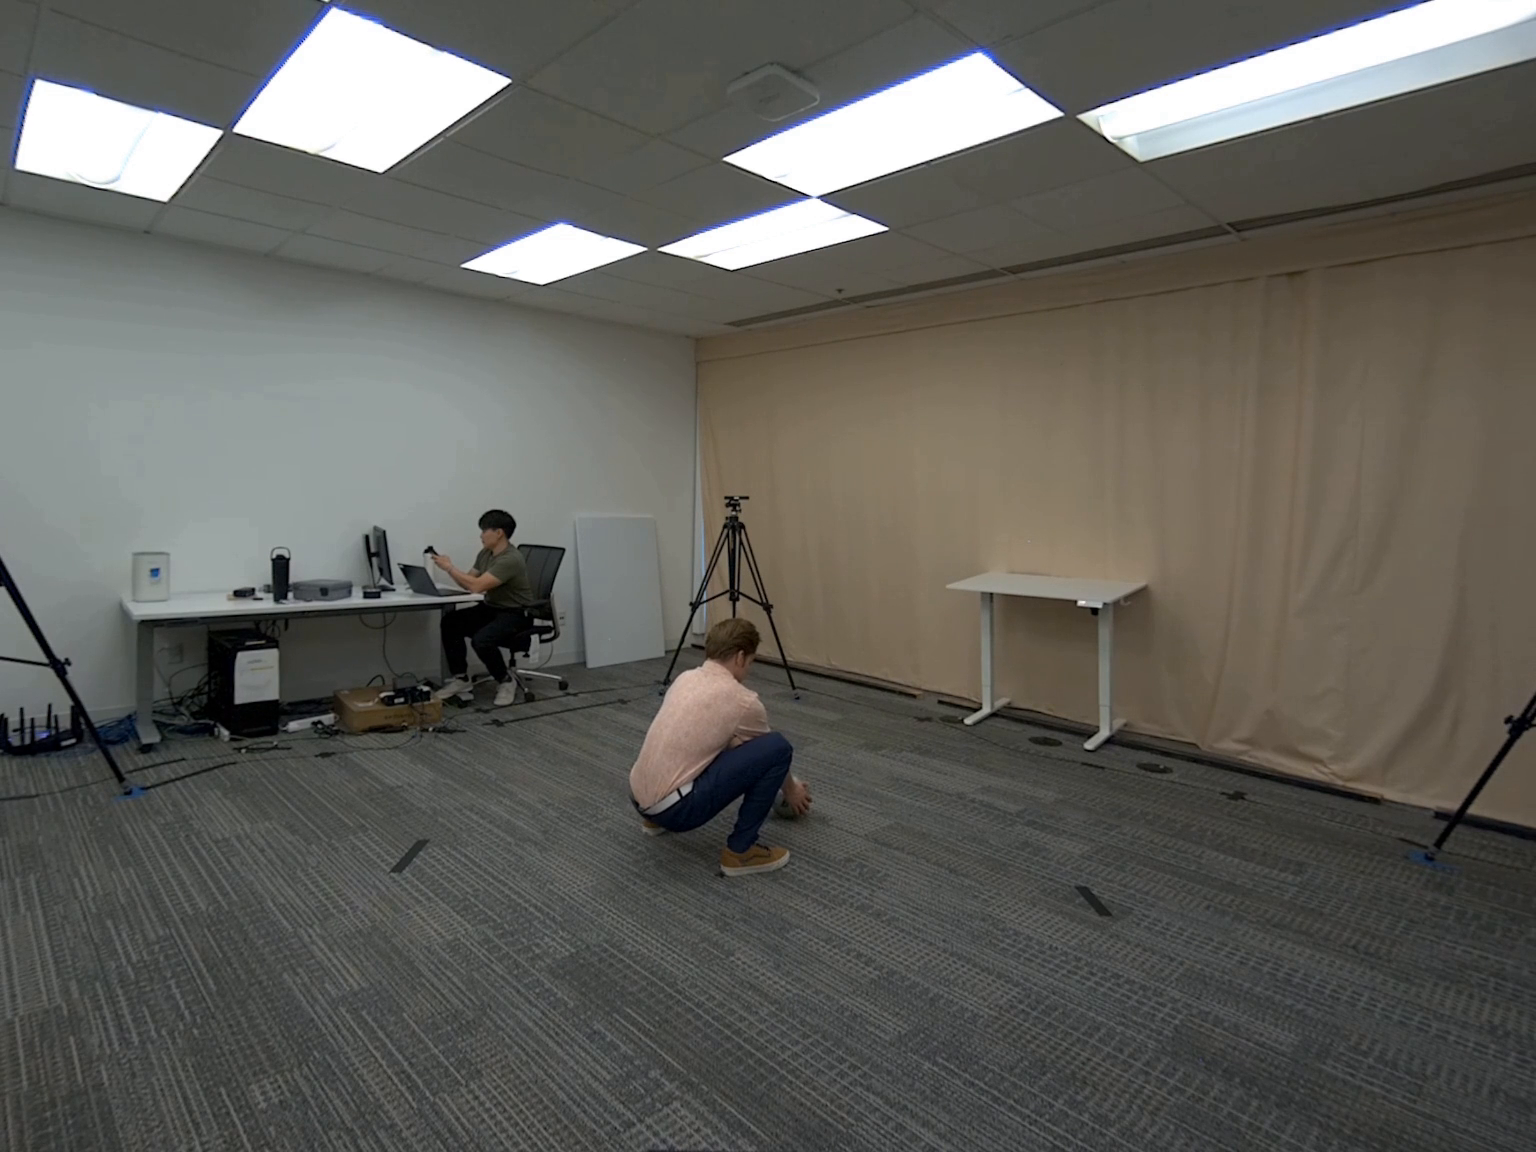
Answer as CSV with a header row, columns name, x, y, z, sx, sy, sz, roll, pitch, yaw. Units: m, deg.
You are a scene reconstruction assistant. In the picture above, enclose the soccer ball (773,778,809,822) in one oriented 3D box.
name,x,y,z,sx,sy,sz,roll,pitch,yaw
soccer ball,0.087,0.955,3.702,0.187,0.187,0.188,1,4,-1
